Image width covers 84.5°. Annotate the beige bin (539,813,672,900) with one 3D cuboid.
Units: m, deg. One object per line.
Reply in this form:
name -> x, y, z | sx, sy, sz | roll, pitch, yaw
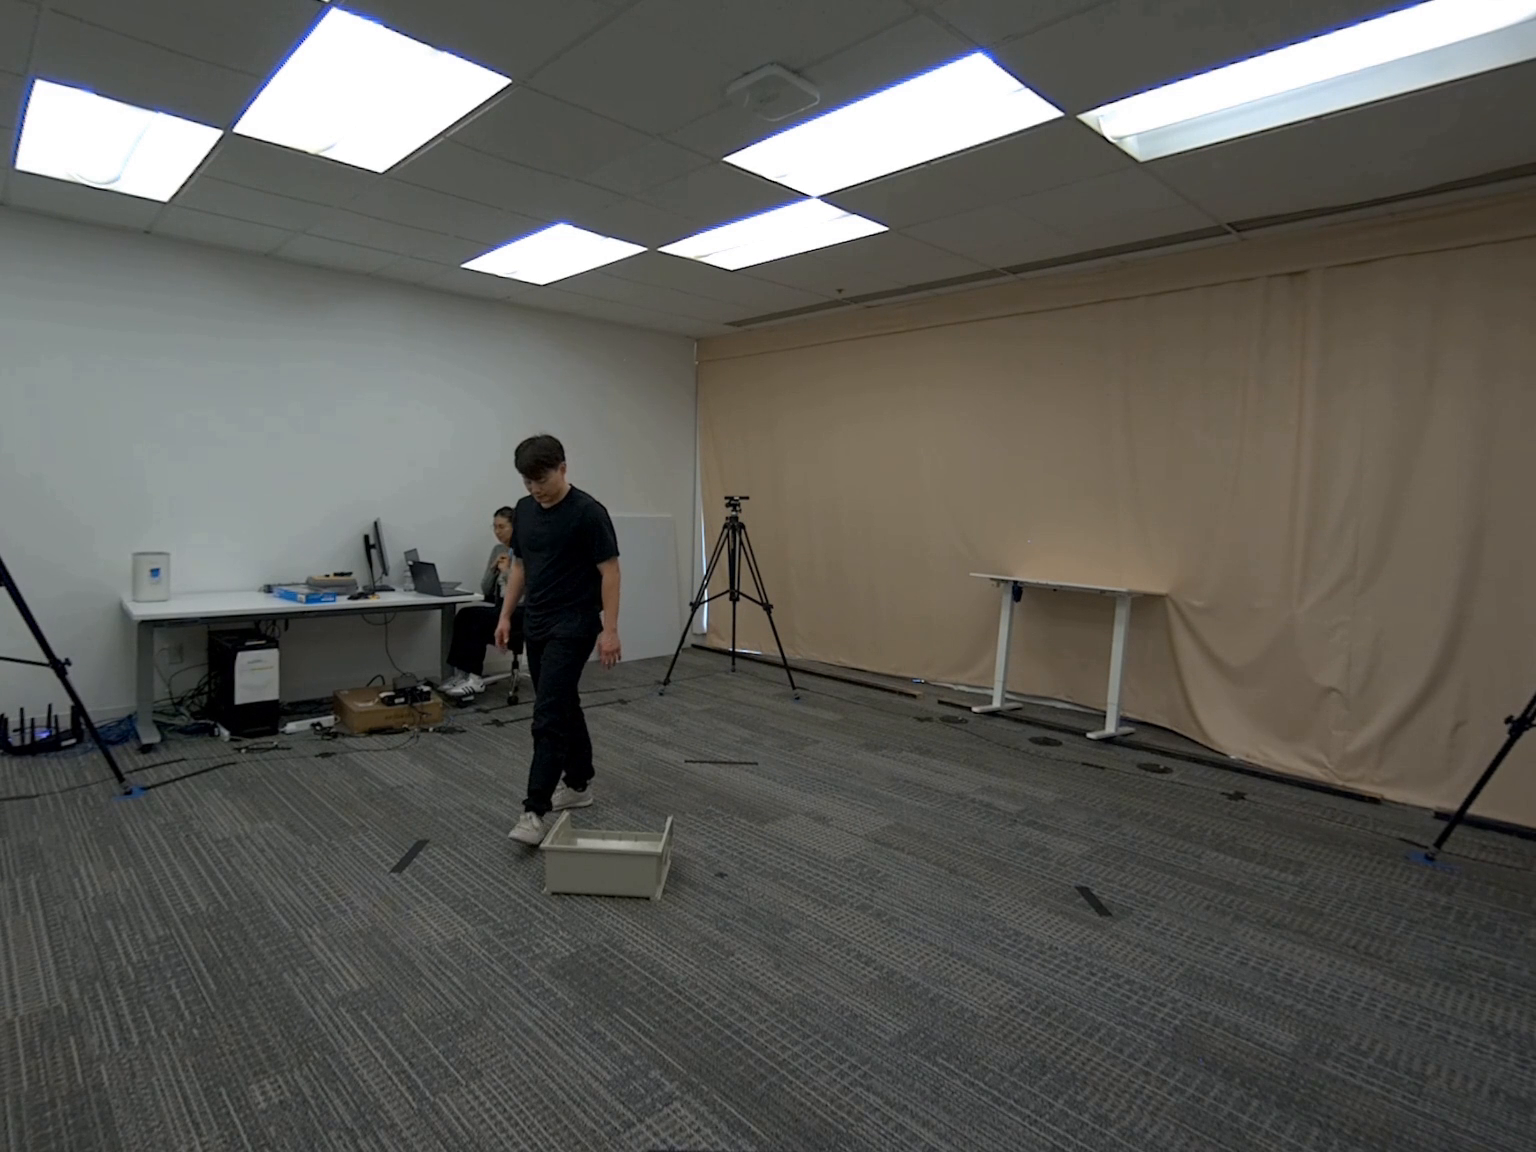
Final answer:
beige bin -> -0.582, 1.010, 3.073 | 0.423, 0.188, 0.378 | 2, 5, 1
